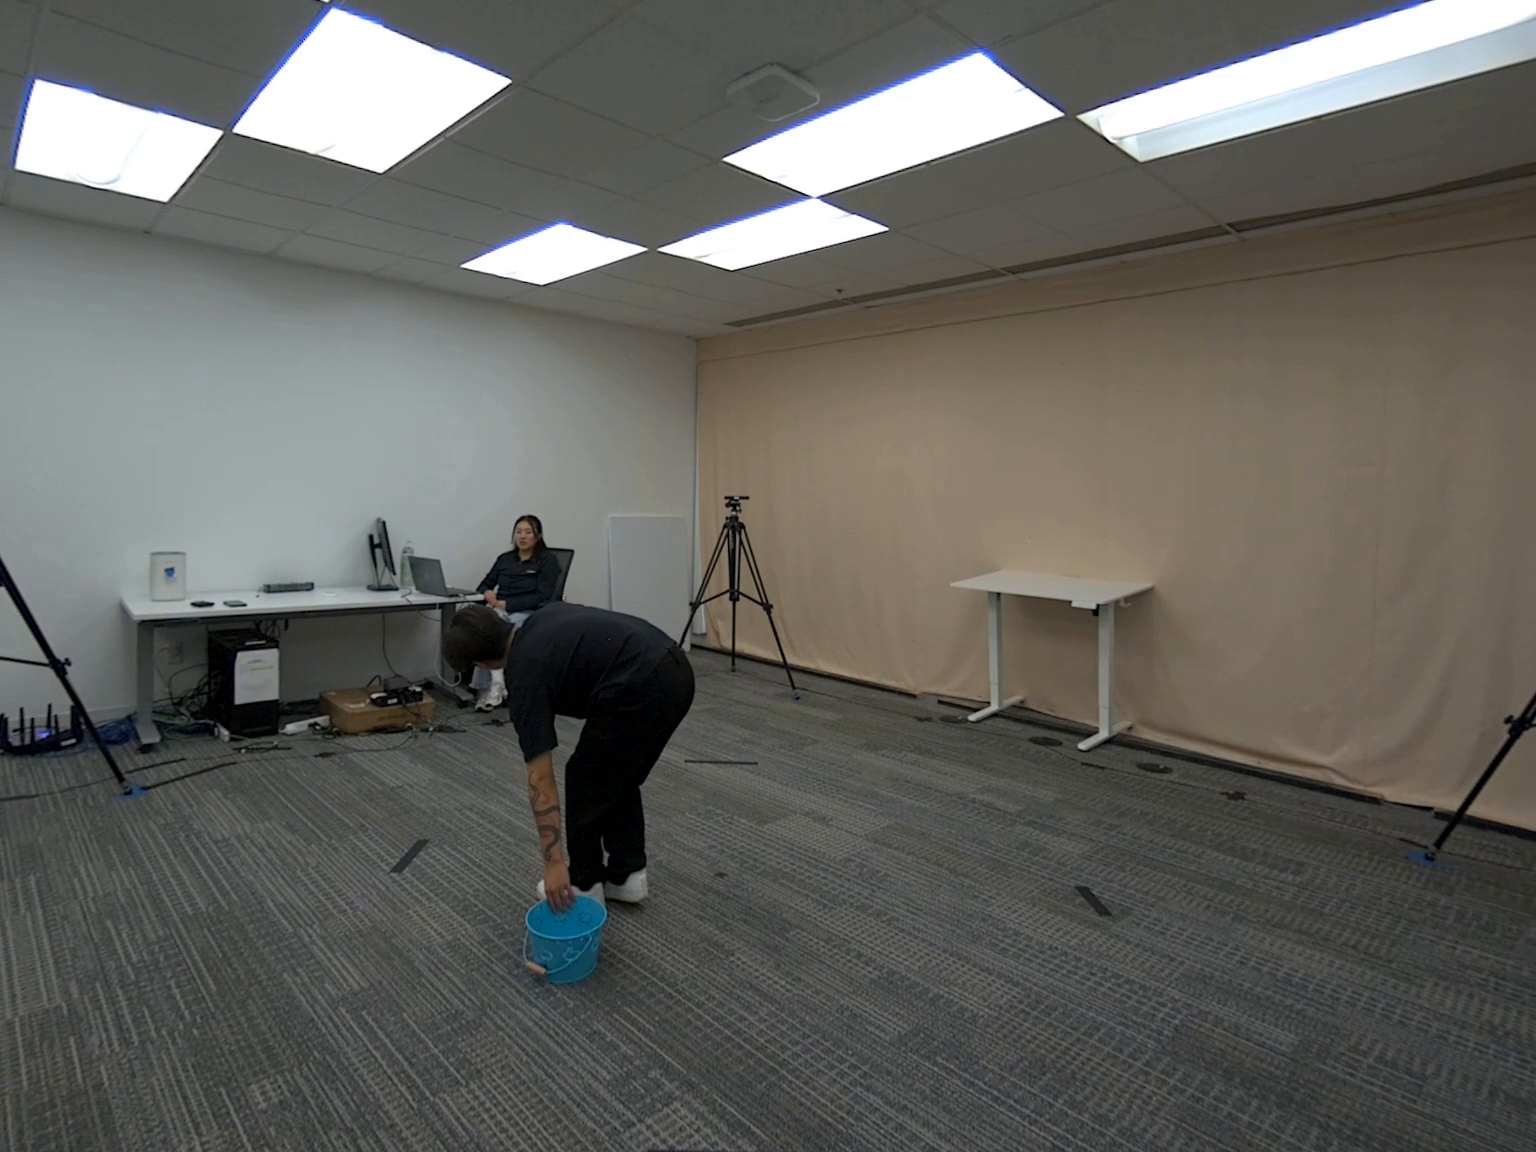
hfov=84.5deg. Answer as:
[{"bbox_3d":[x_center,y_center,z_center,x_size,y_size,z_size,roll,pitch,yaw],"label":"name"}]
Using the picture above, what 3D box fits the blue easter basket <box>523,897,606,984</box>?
[{"bbox_3d":[-0.603,1.074,2.469,0.243,0.155,0.245,2,8,-2],"label":"blue easter basket"}]
